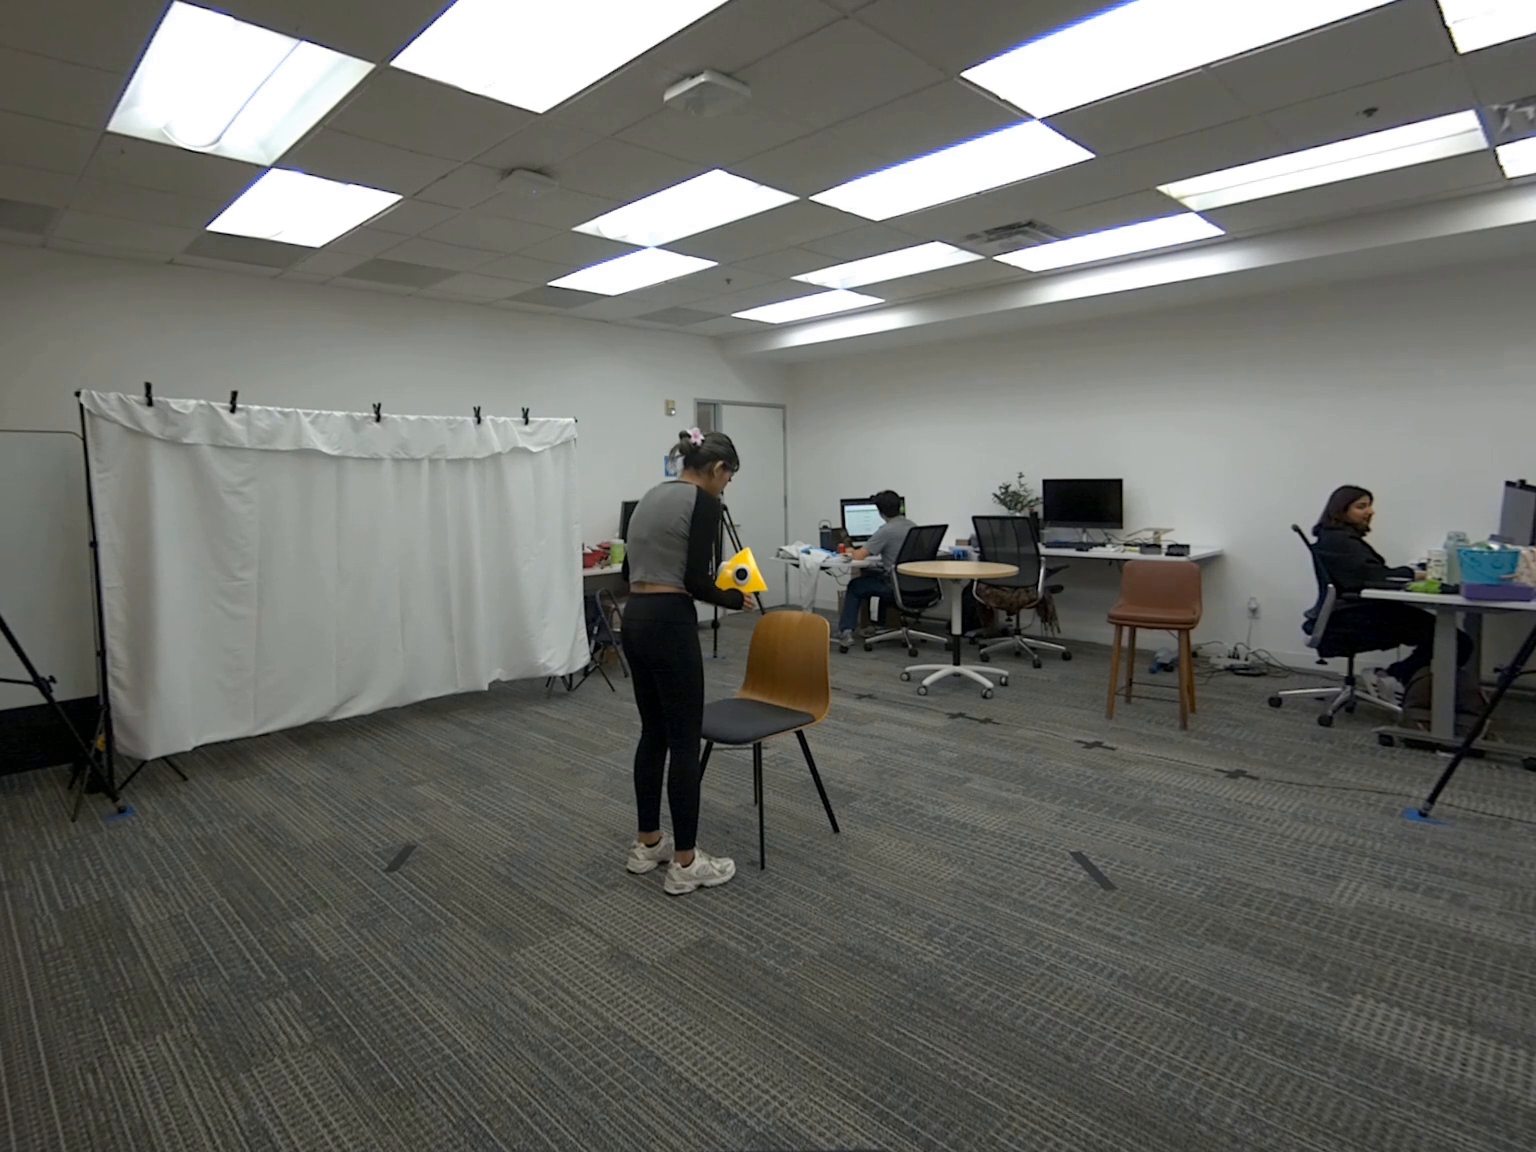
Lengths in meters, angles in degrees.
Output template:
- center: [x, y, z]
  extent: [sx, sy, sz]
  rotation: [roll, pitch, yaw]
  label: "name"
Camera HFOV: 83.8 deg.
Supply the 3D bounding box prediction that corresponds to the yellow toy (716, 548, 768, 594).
- center: [-0.130, 0.005, 3.211]
  extent: [0.187, 0.230, 0.211]
  rotation: [5, 2, -40]
  label: "yellow toy"
